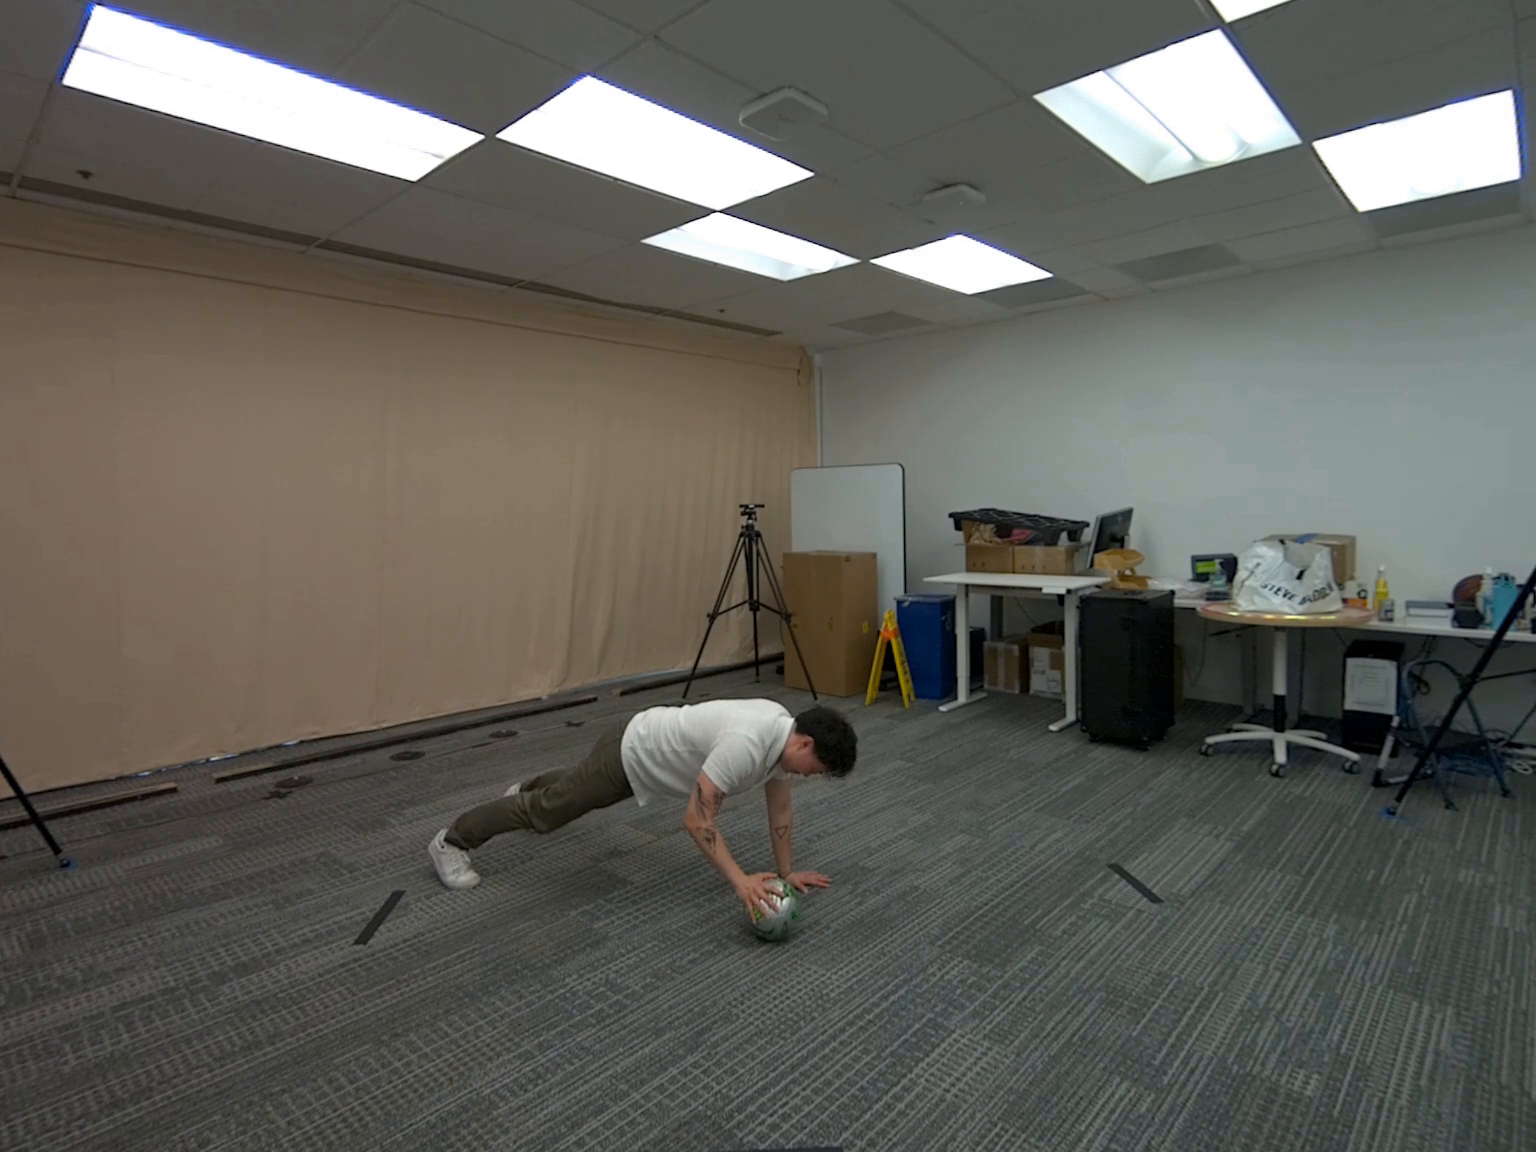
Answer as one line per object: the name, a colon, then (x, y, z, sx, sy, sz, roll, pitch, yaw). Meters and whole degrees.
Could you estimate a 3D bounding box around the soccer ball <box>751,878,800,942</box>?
soccer ball: (0.012, 1.067, 2.714, 0.187, 0.187, 0.188, -1, 4, -2)
